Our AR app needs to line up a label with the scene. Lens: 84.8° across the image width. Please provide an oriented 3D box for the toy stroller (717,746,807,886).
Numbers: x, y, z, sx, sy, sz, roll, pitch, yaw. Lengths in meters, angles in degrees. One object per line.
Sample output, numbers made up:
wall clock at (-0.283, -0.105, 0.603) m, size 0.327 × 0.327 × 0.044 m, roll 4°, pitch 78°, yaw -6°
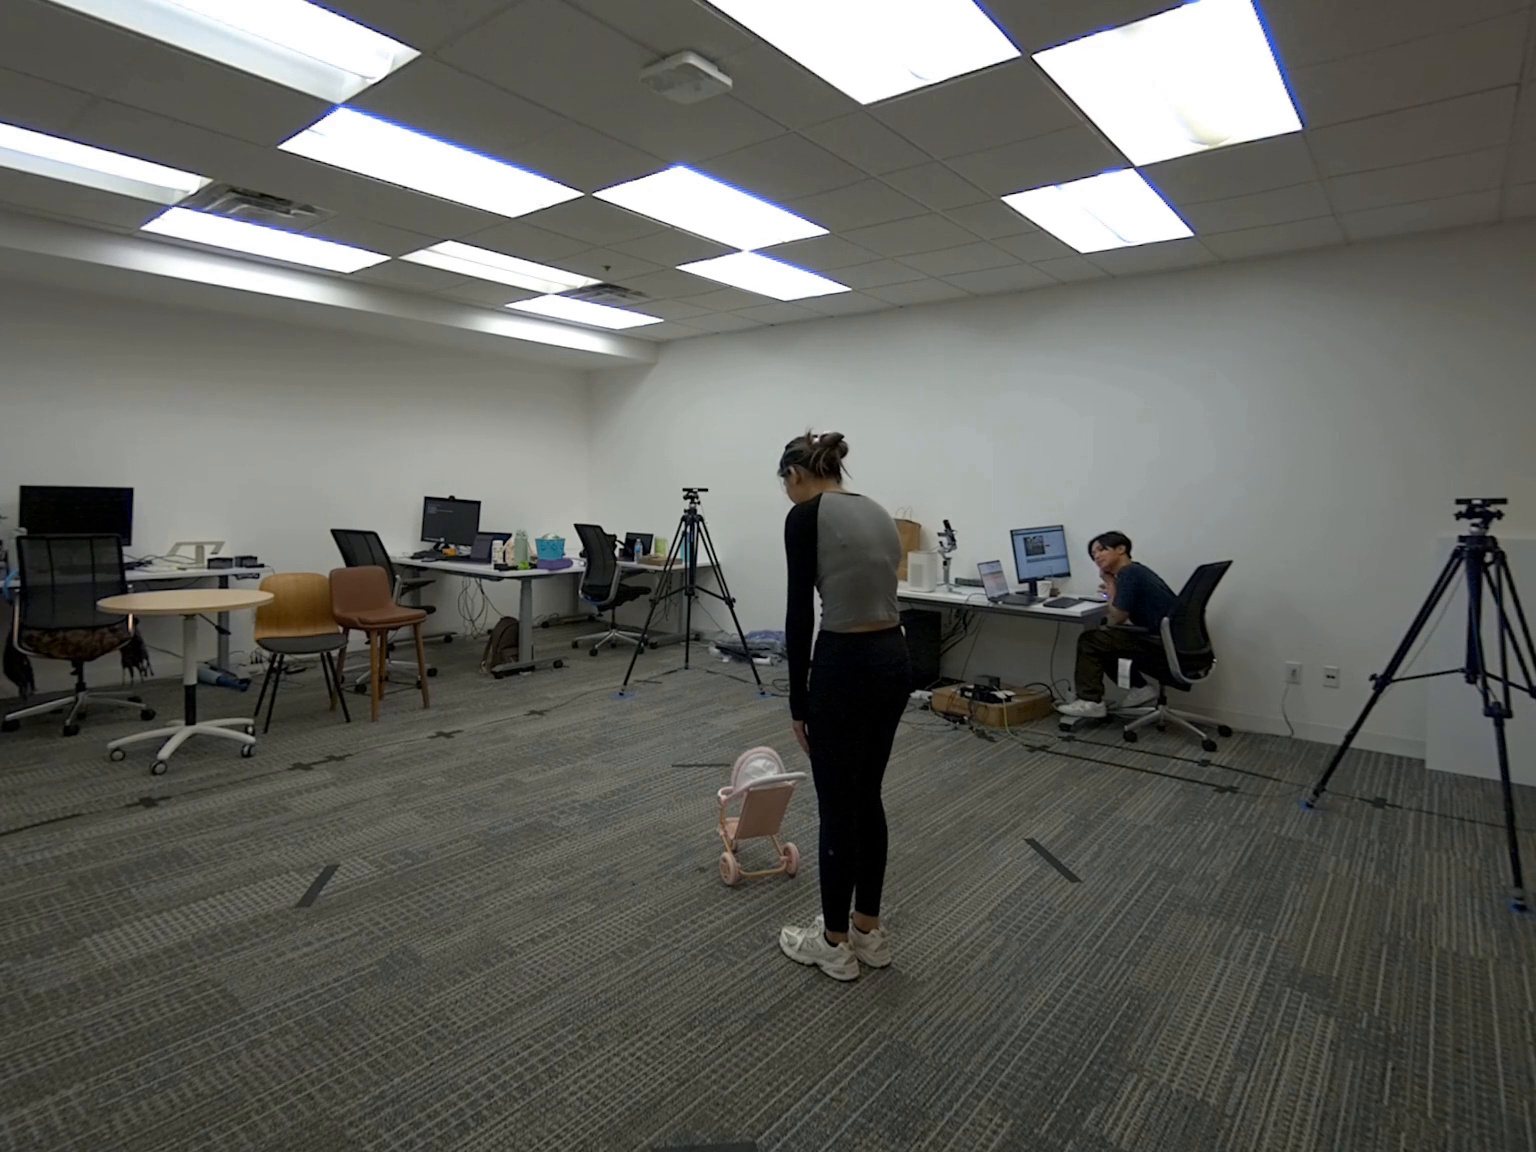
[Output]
toy stroller at (-0.055, 0.848, 3.096) m, size 0.276 × 0.527 × 0.353 m, roll 1°, pitch 20°, yaw -21°
